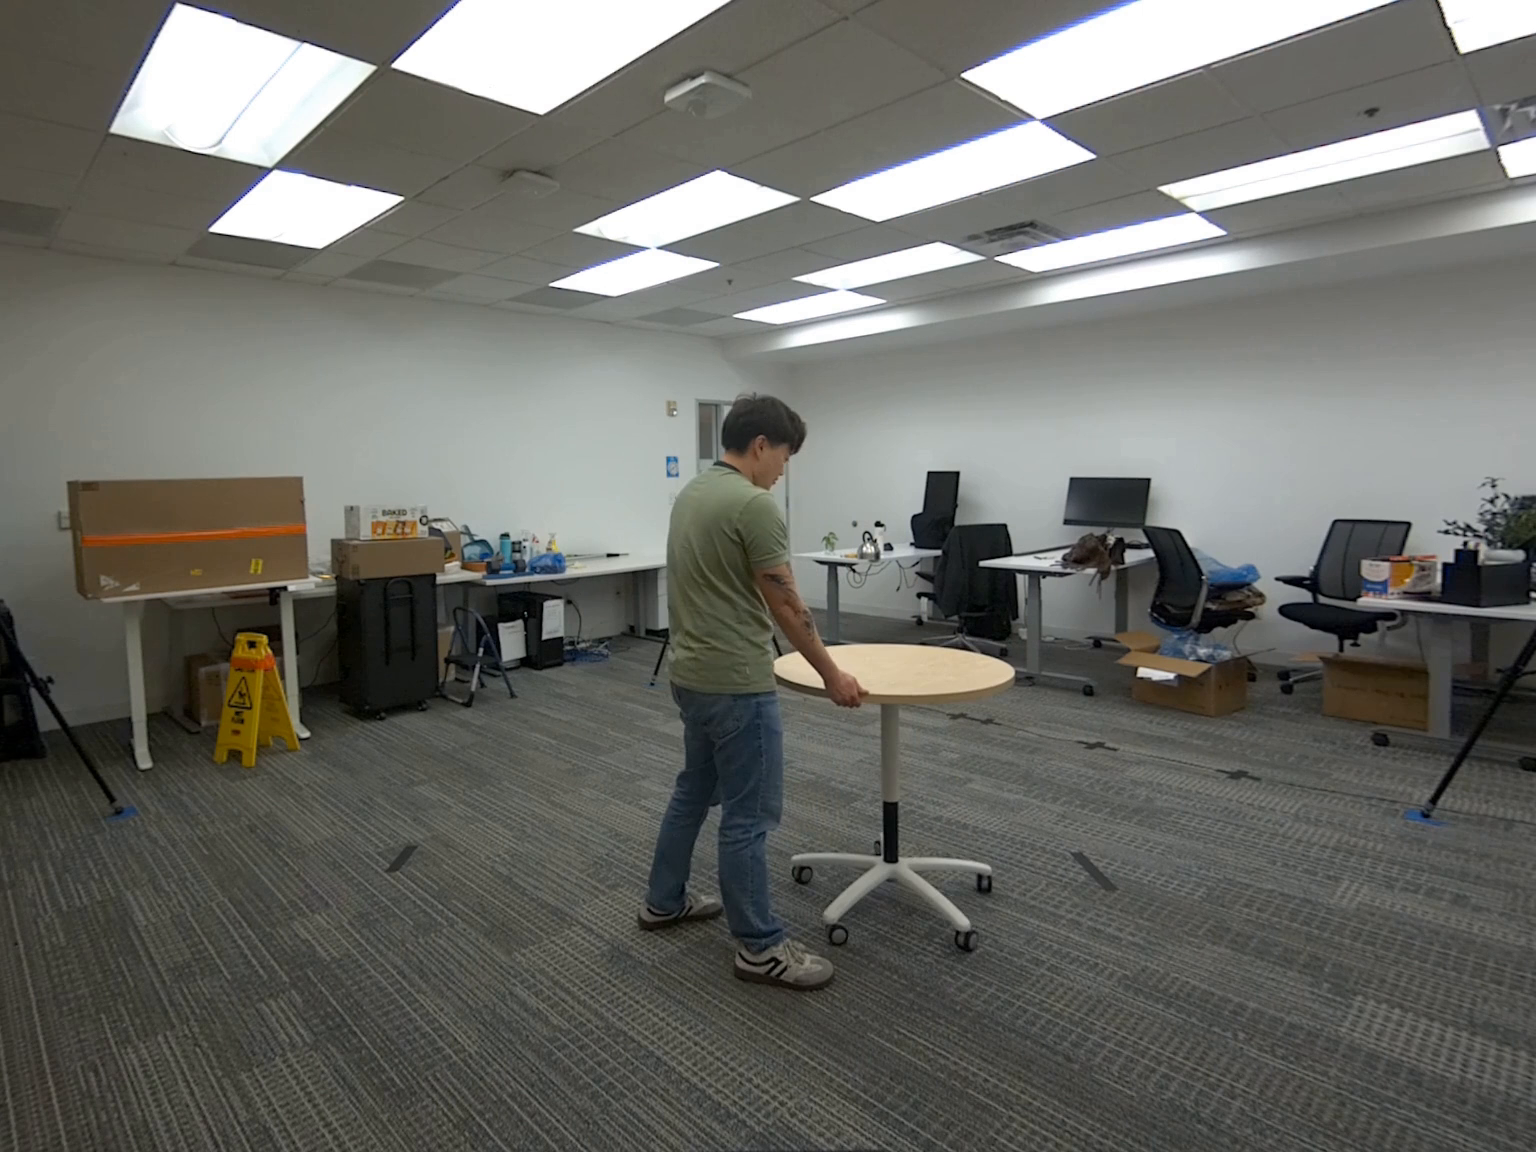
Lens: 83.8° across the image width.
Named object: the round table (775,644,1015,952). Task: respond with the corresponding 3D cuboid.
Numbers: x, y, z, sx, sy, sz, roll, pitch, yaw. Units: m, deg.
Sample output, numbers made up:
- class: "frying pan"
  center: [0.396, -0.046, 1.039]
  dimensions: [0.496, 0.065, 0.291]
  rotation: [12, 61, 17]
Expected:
- class: "round table"
  center: [0.405, 0.684, 2.782]
  dimensions: [0.763, 0.791, 0.768]
  rotation: [-1, 5, -2]
